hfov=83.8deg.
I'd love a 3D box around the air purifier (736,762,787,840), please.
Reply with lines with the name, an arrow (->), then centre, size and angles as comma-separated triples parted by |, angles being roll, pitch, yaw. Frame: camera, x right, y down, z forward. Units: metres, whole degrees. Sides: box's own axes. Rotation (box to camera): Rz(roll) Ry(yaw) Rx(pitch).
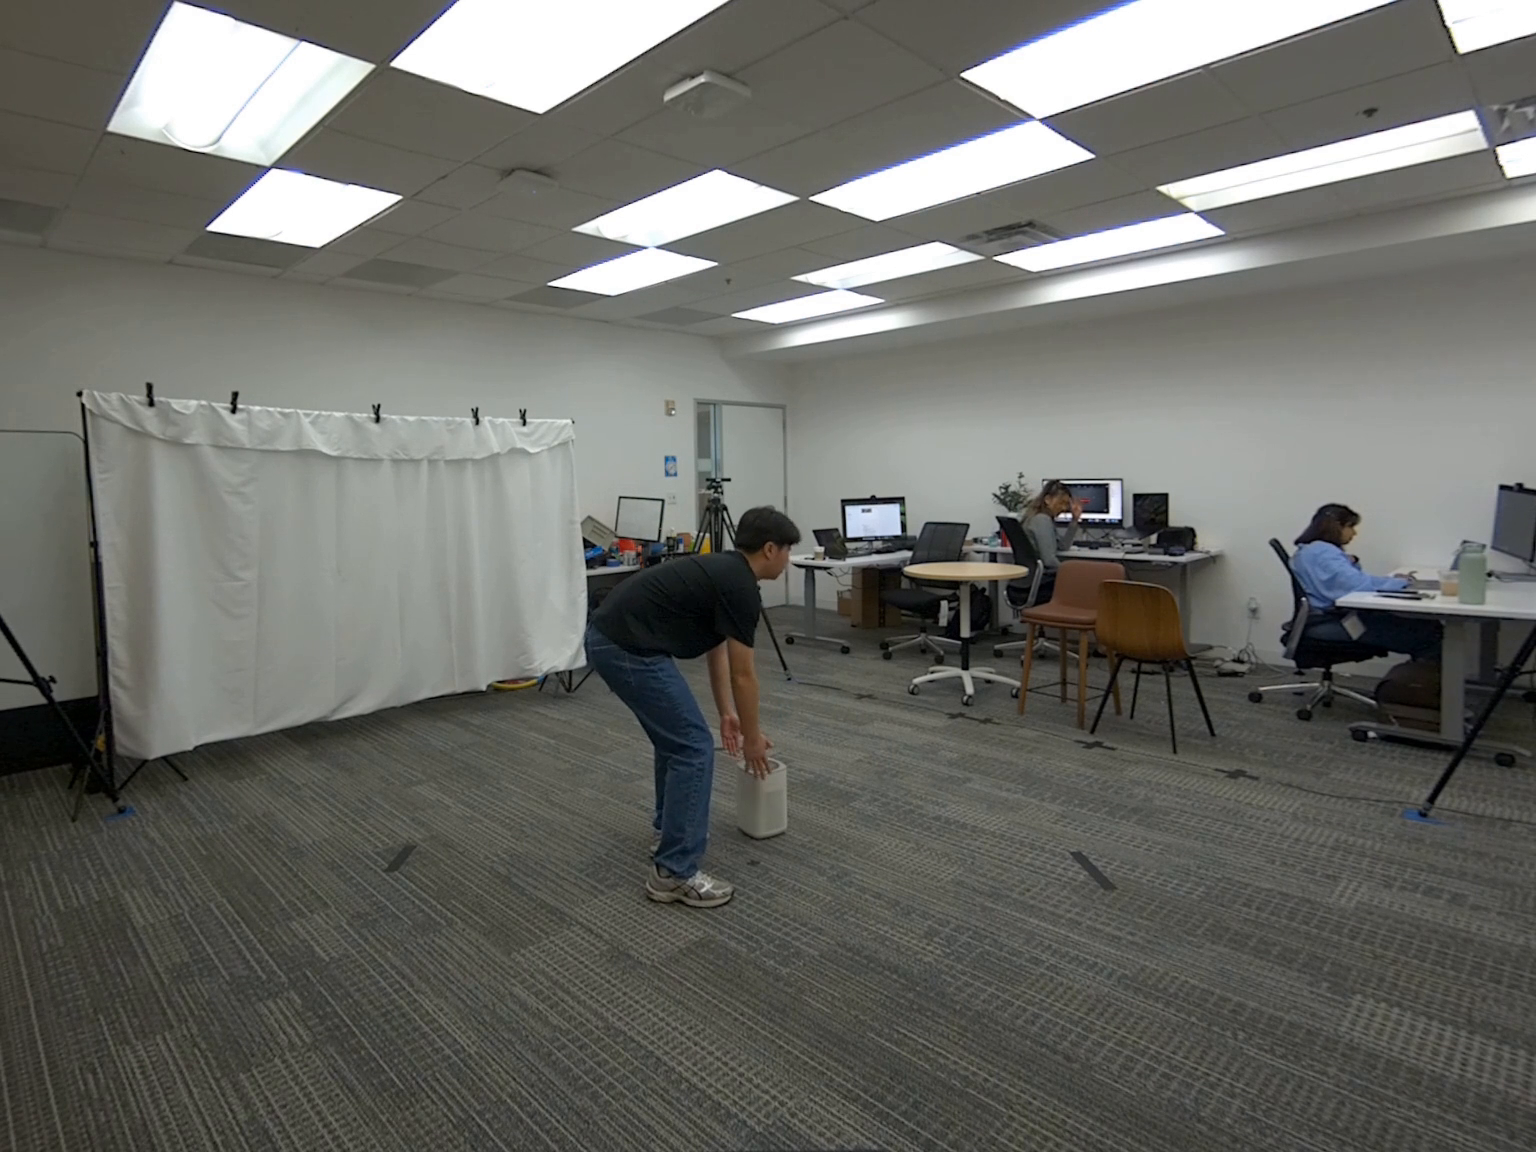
air purifier -> -0.024, 0.869, 3.368 | 0.167, 0.264, 0.176 | -4, 6, -37
